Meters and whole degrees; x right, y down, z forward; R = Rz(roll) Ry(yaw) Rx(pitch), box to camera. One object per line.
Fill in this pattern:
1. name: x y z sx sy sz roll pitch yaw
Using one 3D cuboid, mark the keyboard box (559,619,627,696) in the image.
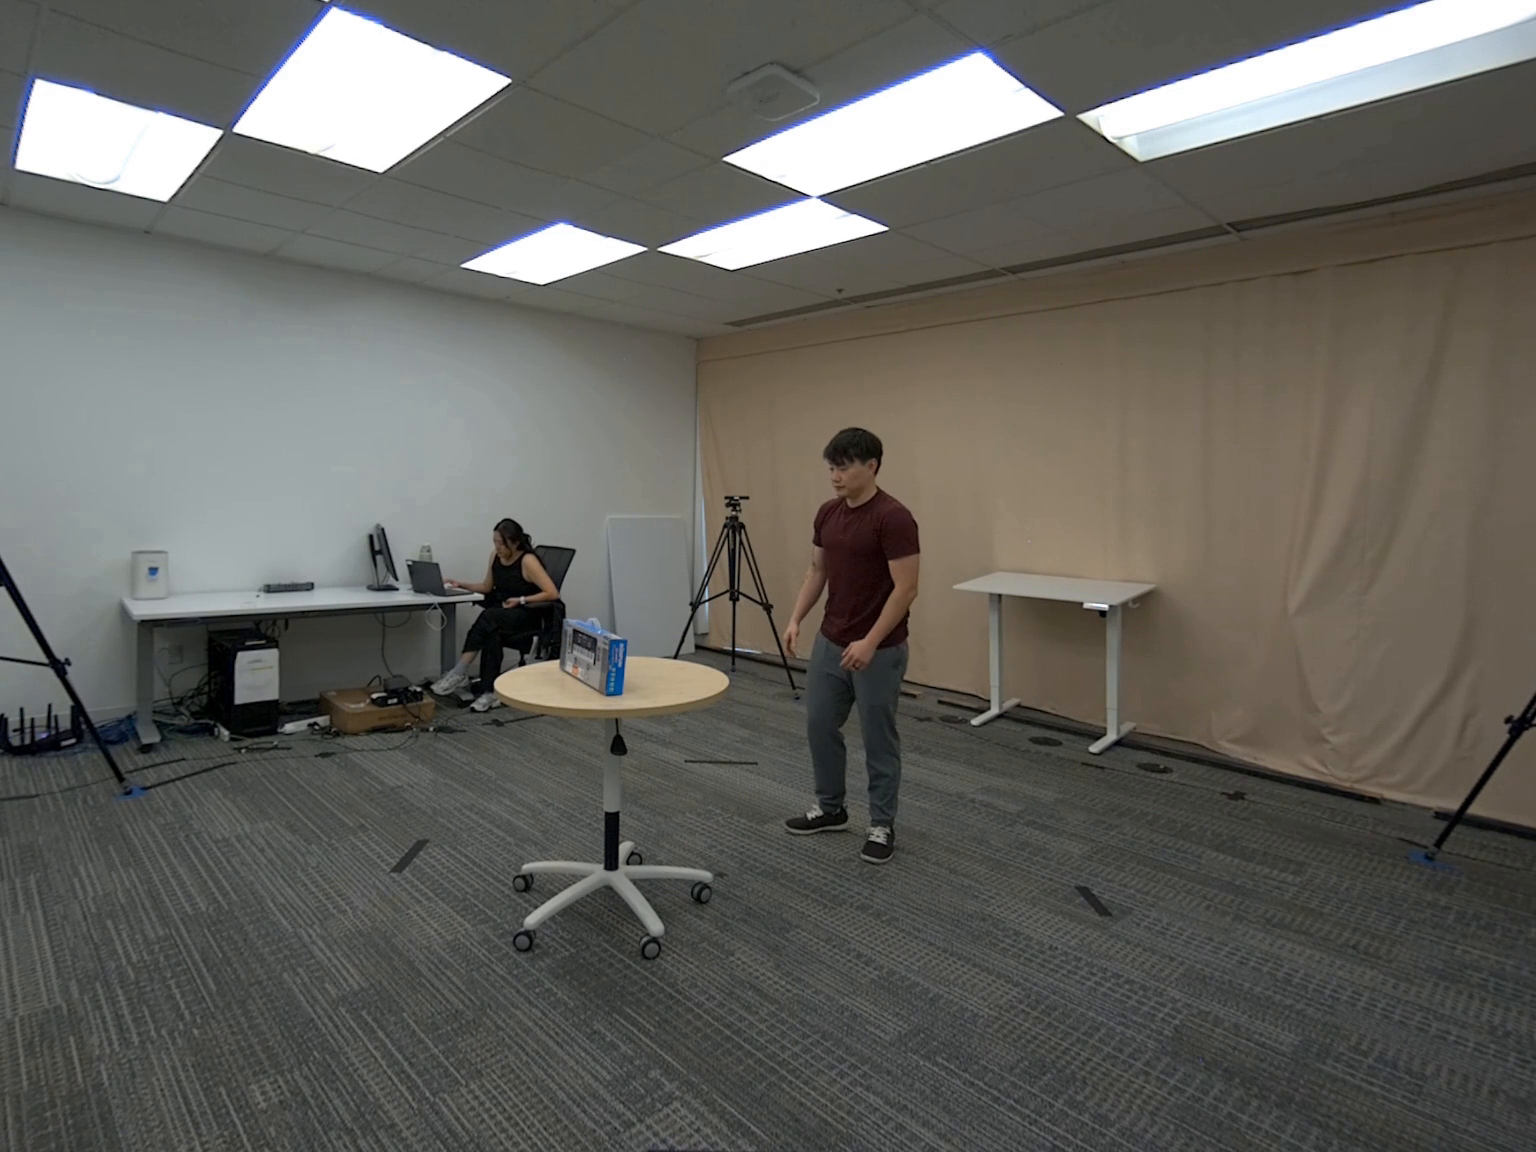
1. keyboard box: -0.588 0.263 2.748 0.058 0.176 0.447 4 3 -31
